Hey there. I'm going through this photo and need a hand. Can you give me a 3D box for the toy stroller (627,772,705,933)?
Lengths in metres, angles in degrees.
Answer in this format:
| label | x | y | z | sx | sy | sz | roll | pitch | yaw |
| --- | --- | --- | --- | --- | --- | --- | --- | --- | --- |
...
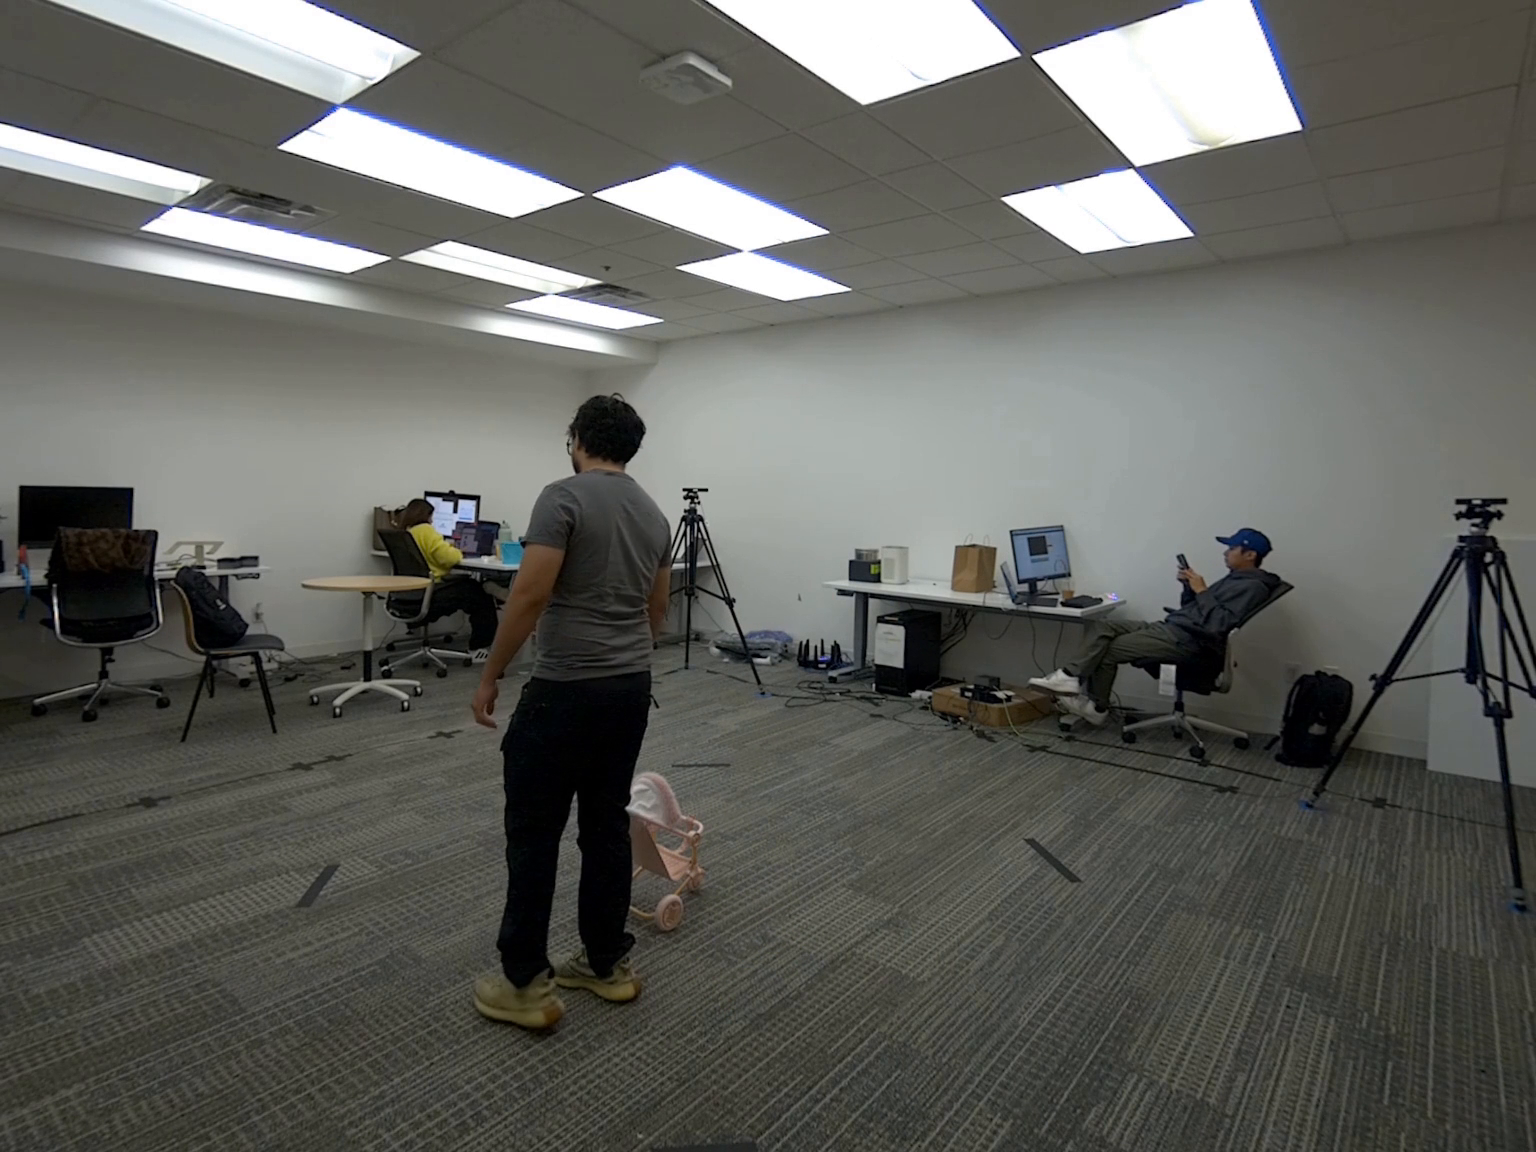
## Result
| label | x | y | z | sx | sy | sz | roll | pitch | yaw |
| --- | --- | --- | --- | --- | --- | --- | --- | --- | --- |
| toy stroller | -0.375 | 0.873 | 2.786 | 0.291 | 0.526 | 0.335 | 4 | 21 | 43 |
